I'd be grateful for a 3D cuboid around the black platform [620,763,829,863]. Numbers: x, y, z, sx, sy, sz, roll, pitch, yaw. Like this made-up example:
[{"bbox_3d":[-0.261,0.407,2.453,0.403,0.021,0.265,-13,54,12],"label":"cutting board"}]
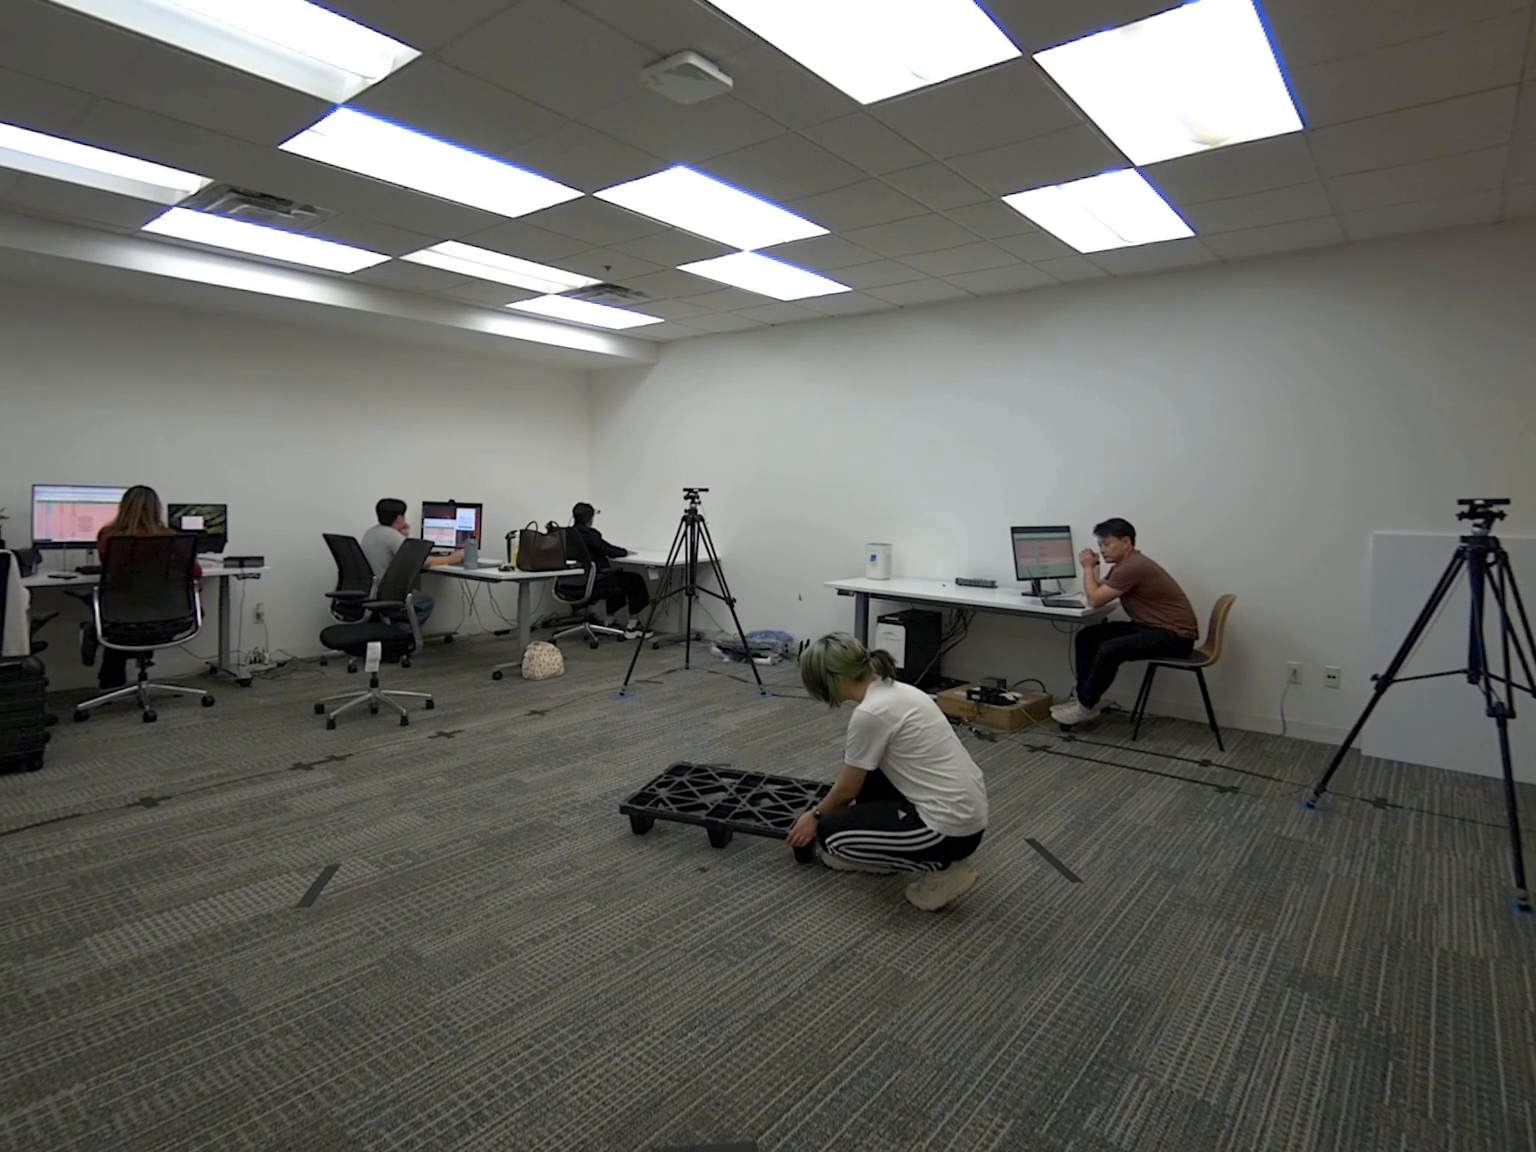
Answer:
[{"bbox_3d":[-0.143,0.964,3.521,0.822,0.143,0.595,3,5,18],"label":"black platform"}]
